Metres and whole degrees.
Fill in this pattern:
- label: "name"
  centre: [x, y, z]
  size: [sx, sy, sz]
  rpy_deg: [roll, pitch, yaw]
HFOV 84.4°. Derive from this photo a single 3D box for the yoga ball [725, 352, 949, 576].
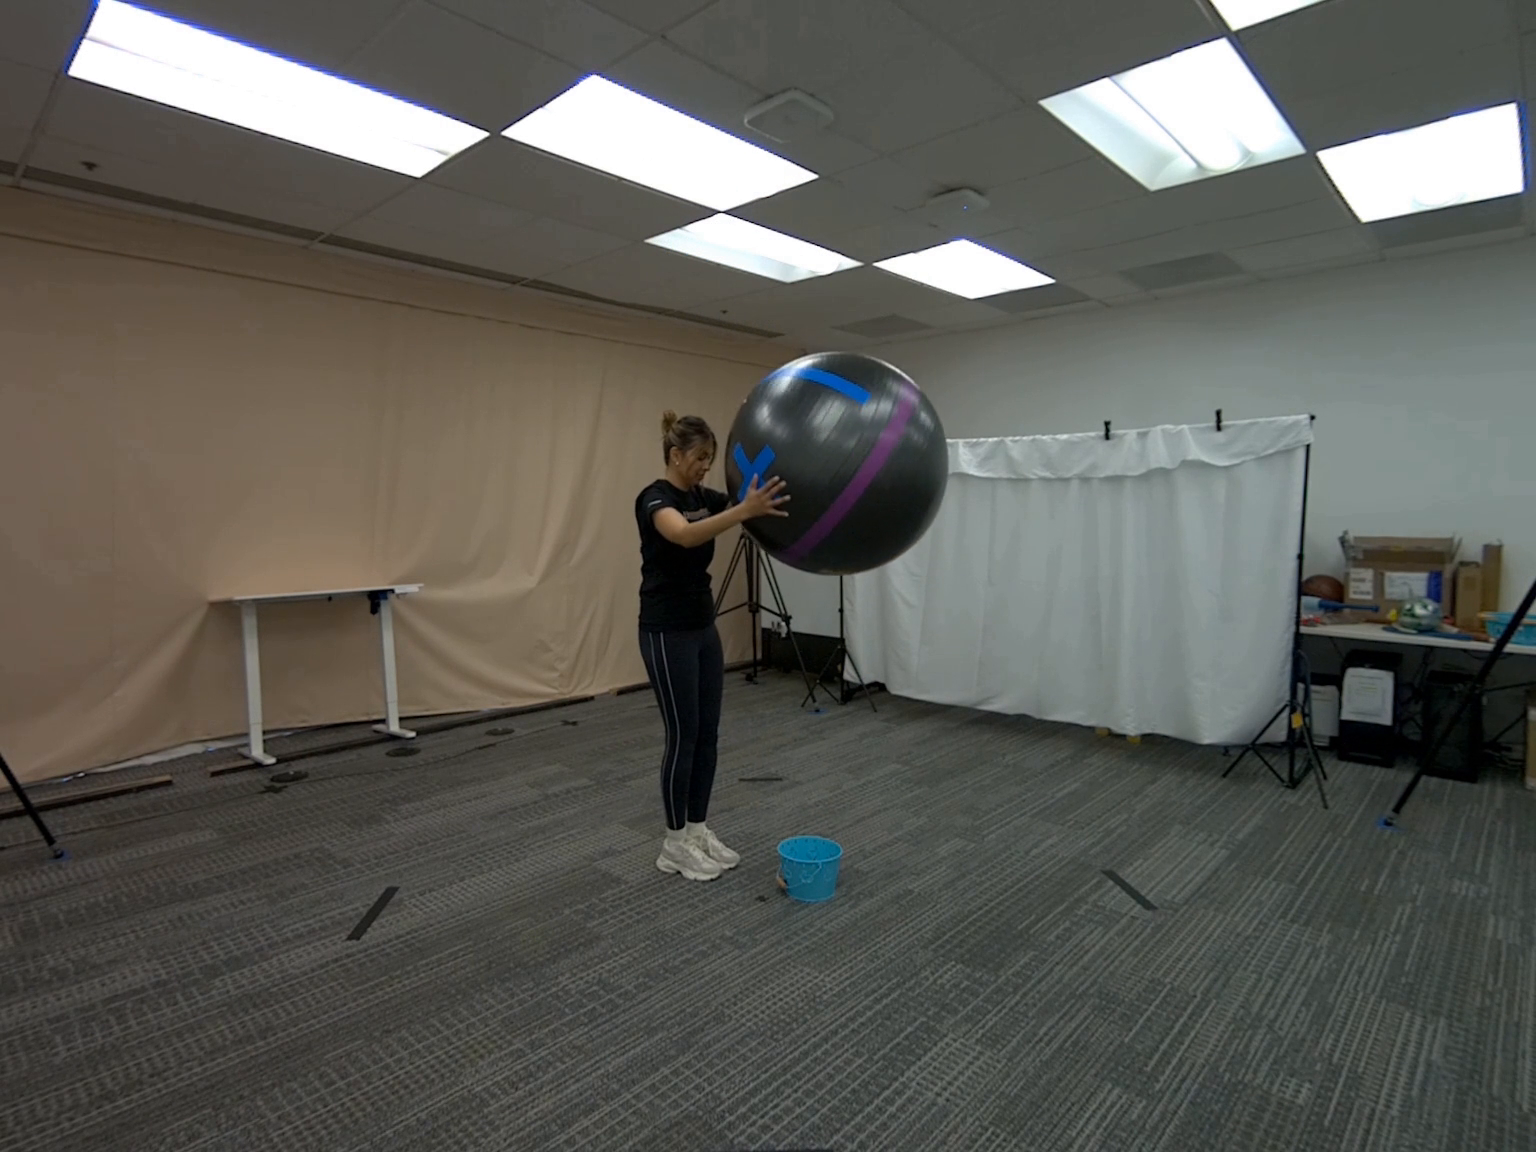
- label: "yoga ball"
  centre: [0.231, -0.368, 2.890]
  size: [0.757, 0.756, 0.760]
  rpy_deg: [0, 4, -2]
